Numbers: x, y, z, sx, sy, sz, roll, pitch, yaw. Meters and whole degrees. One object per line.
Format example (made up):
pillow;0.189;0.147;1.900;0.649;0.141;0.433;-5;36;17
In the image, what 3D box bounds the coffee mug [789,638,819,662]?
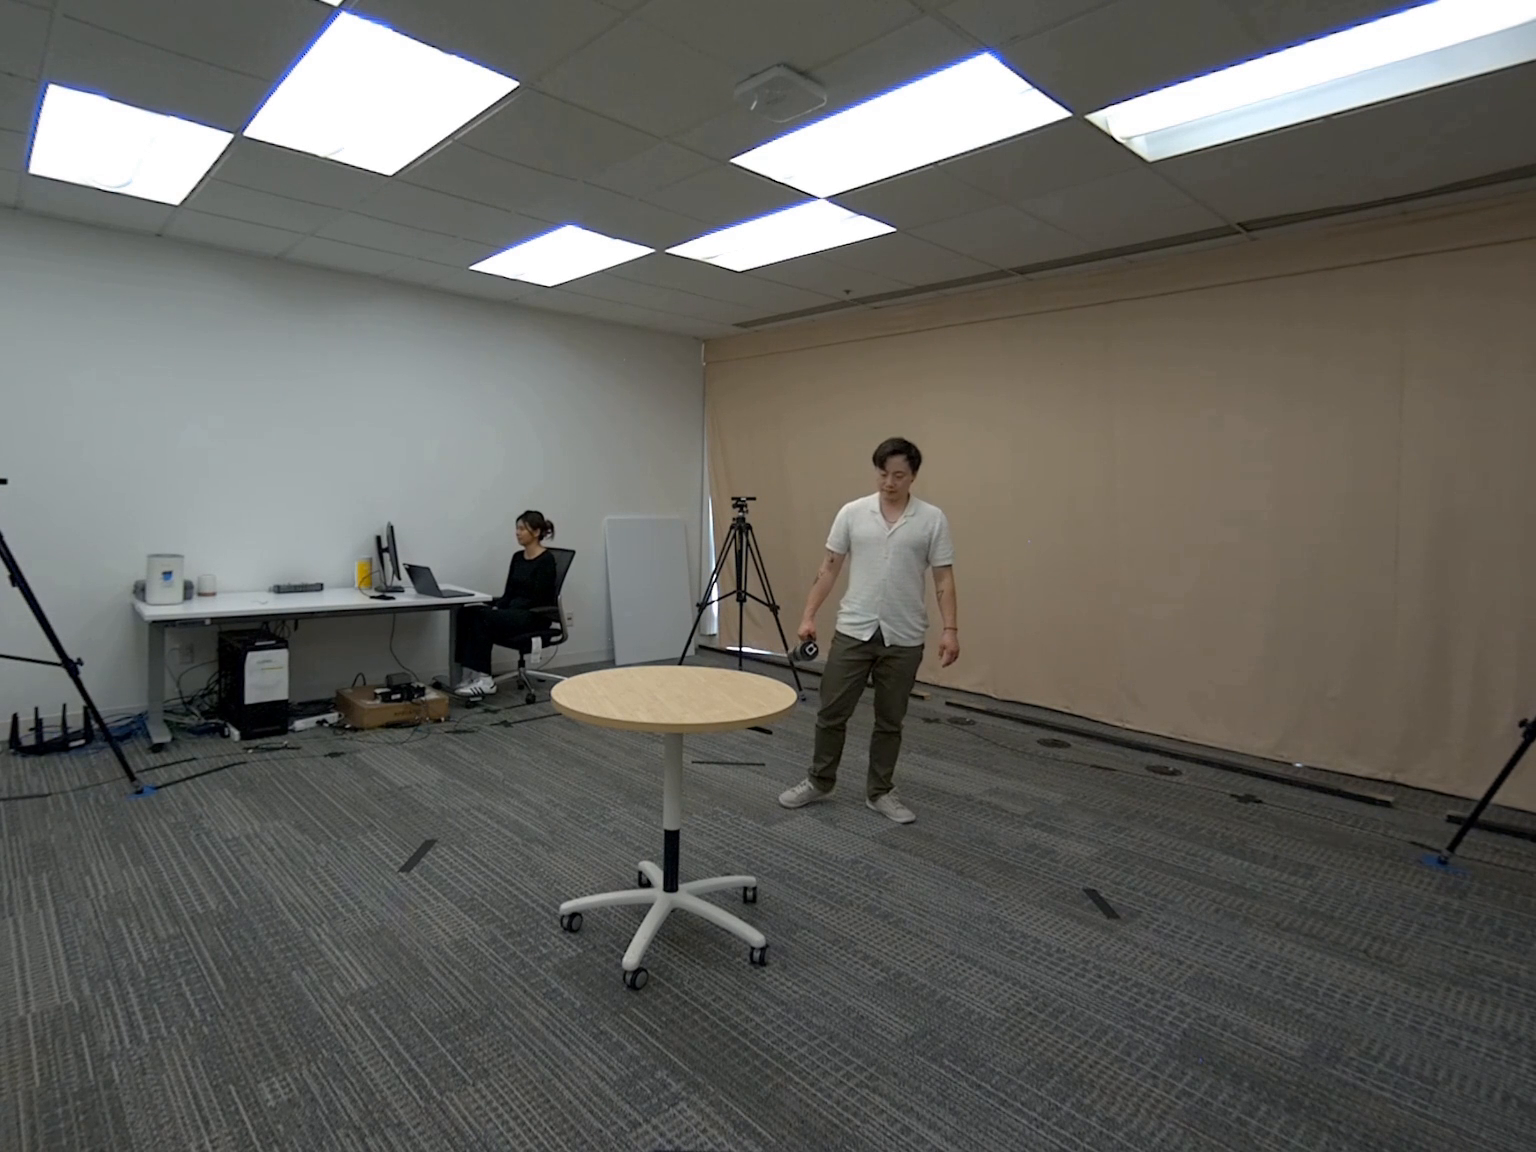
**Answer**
coffee mug;0.169;0.324;3.805;0.088;0.122;0.203;28;-11;-3
